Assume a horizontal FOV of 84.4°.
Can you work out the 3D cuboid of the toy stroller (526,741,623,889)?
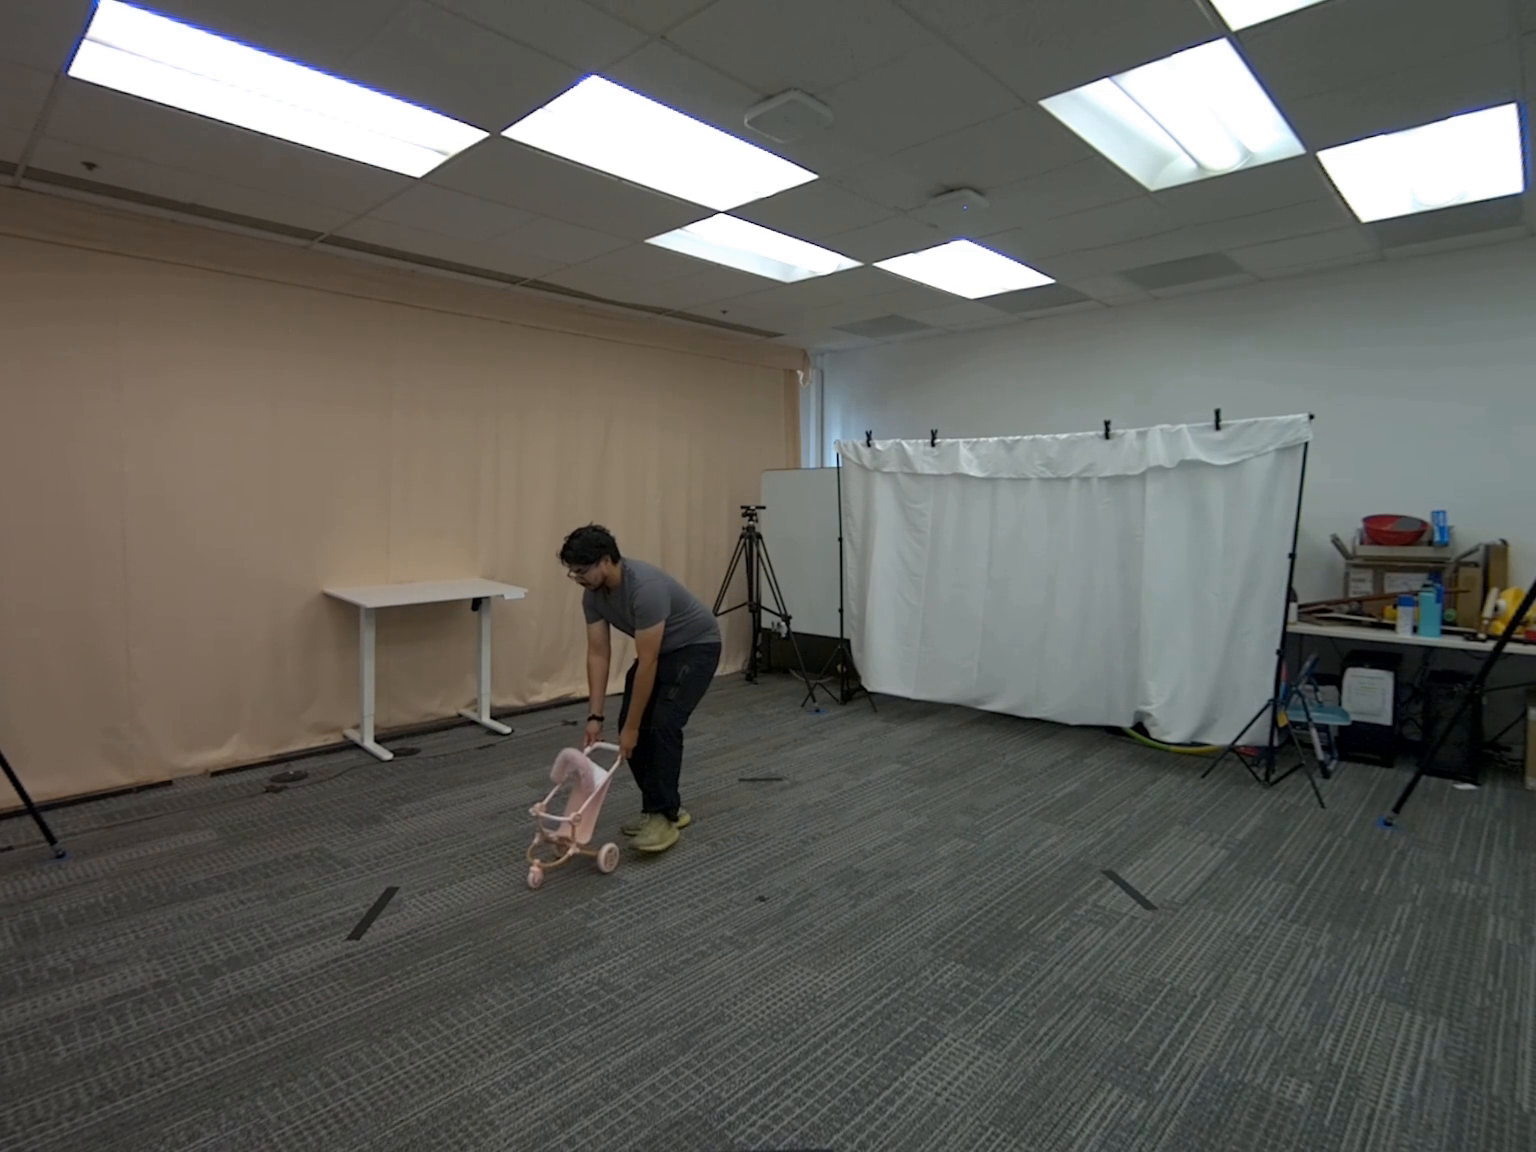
[{"bbox_3d":[-0.751,0.903,3.226,0.290,0.537,0.329,1,-12,38],"label":"toy stroller"}]
